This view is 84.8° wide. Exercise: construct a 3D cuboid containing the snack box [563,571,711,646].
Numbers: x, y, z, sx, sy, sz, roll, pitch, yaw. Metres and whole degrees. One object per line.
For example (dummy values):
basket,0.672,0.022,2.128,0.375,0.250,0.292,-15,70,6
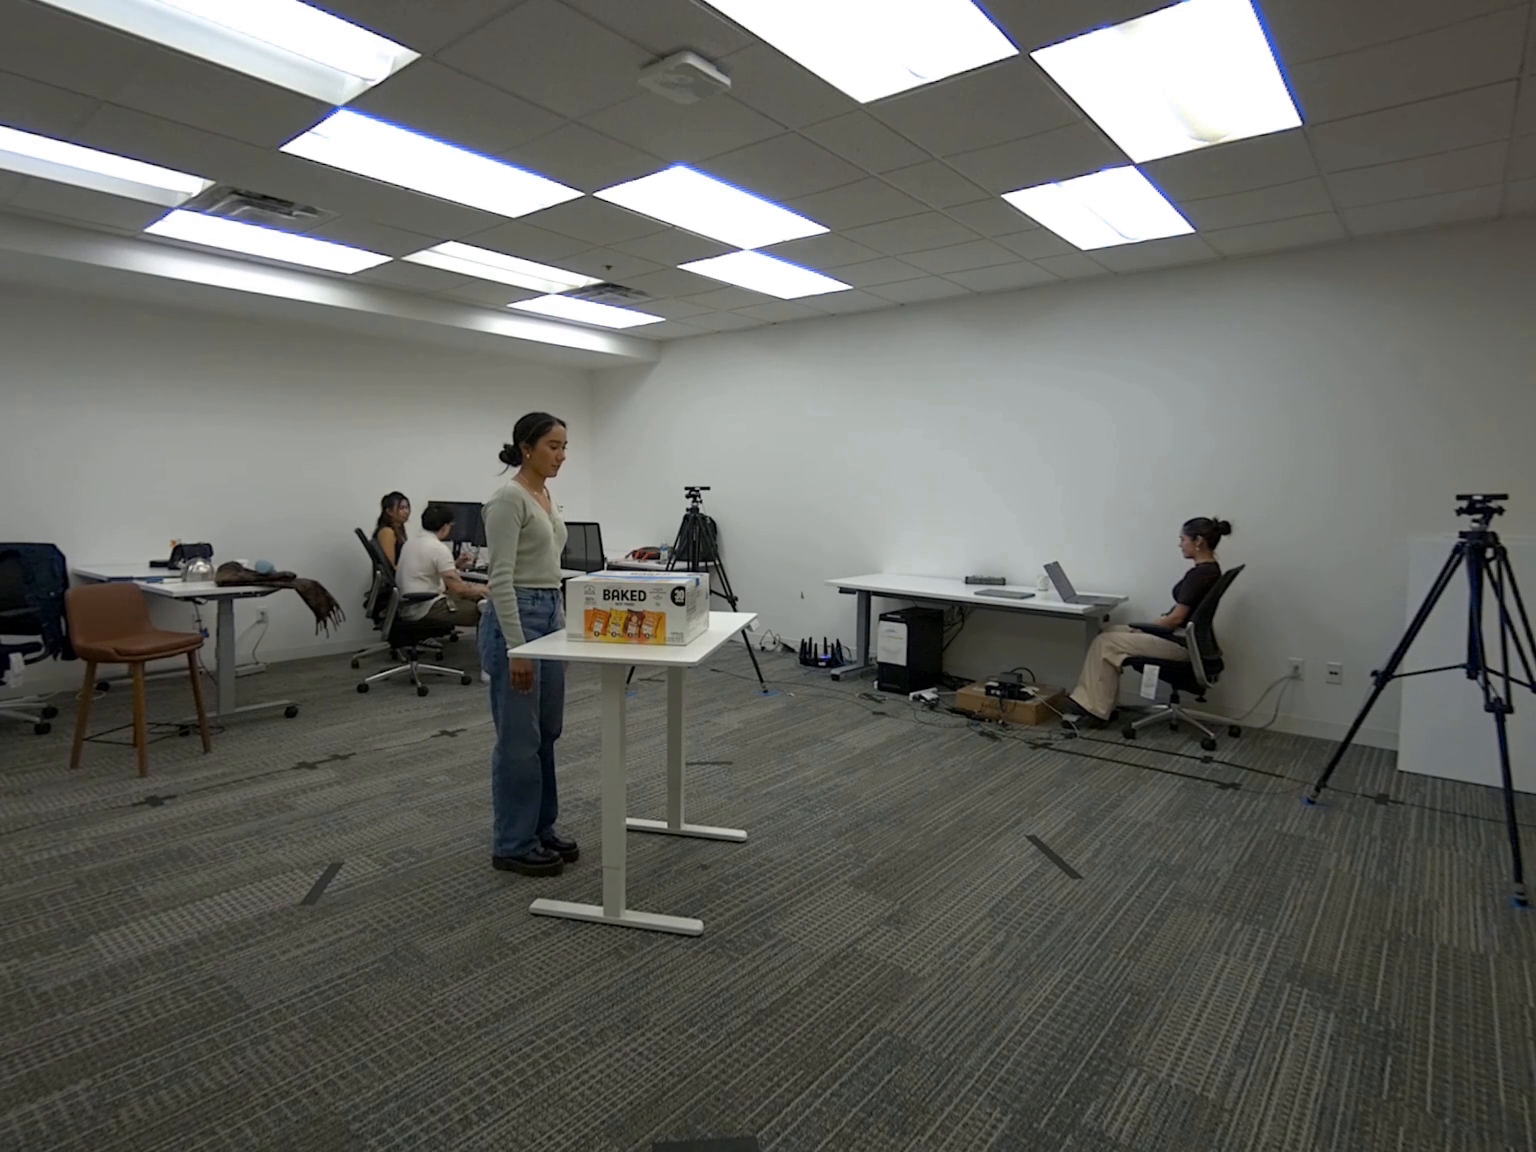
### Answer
snack box,-0.444,0.101,2.905,0.410,0.205,0.337,1,5,11
